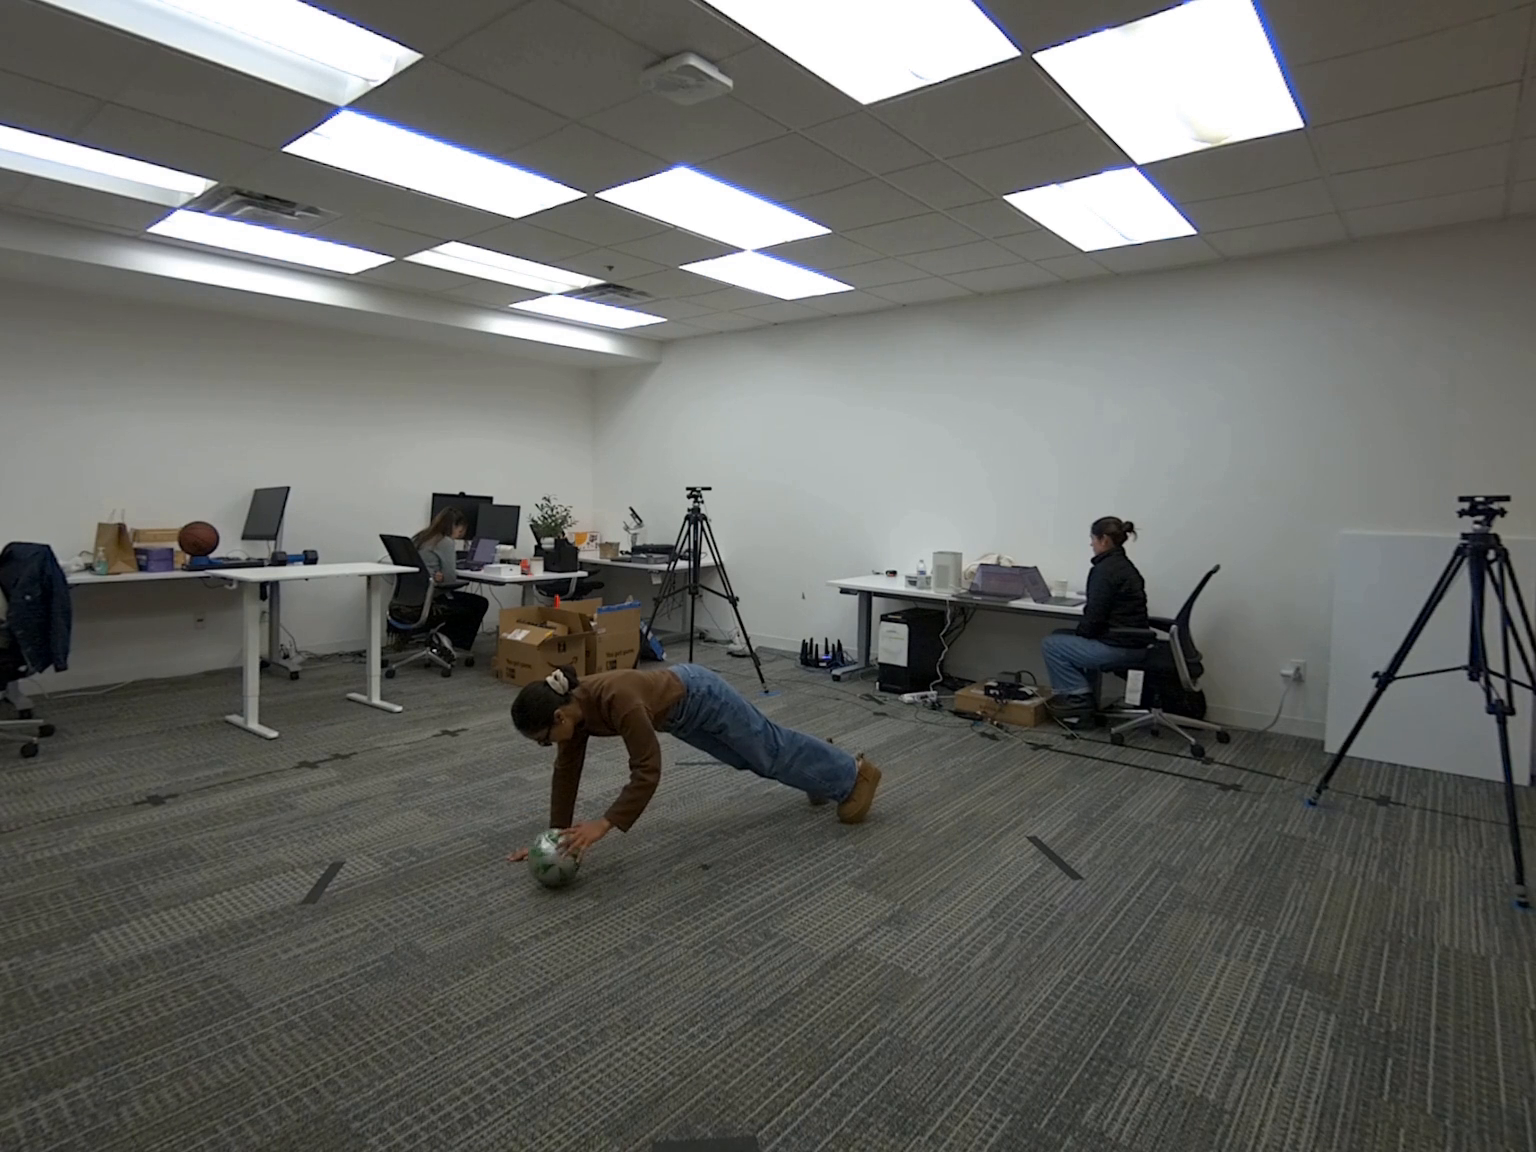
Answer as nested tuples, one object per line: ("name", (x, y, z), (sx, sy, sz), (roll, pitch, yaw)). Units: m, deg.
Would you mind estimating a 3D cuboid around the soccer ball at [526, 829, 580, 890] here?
("soccer ball", (-0.751, 0.983, 2.964), (0.187, 0.187, 0.188), (1, 4, -2))
